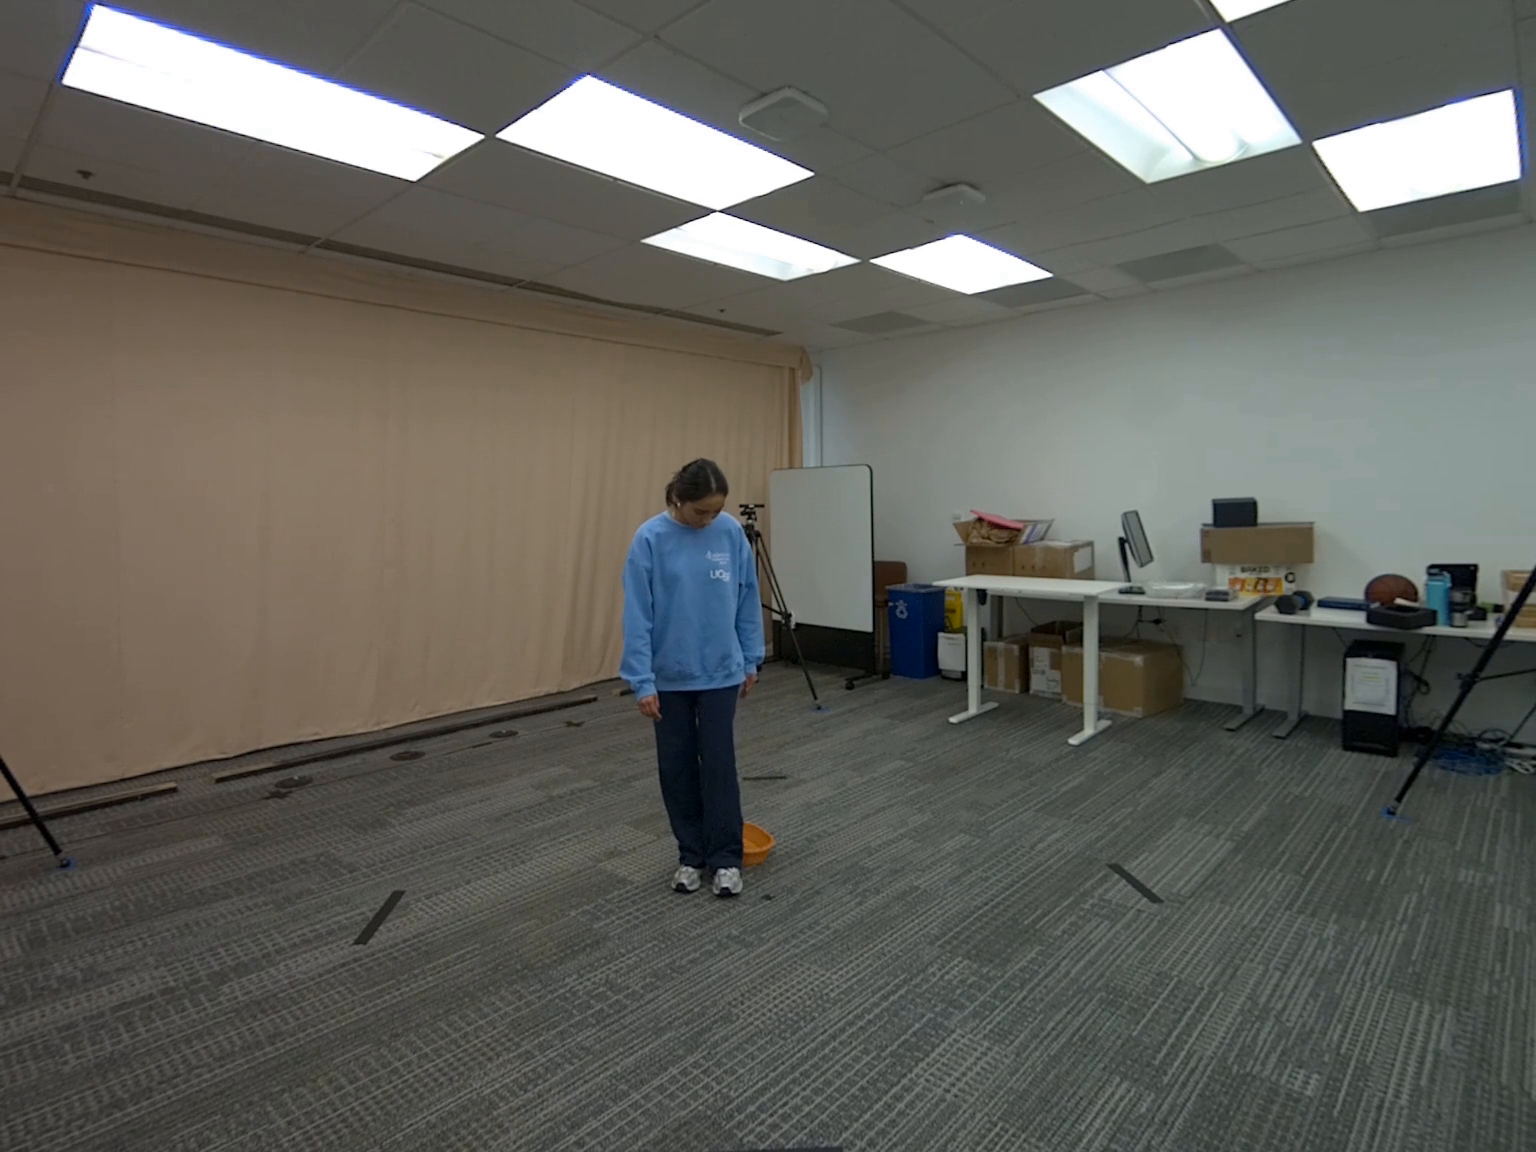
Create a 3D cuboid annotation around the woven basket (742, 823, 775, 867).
[{"bbox_3d":[-0.123,1.070,3.369,0.246,0.073,0.359,-2,5,-25],"label":"woven basket"}]
